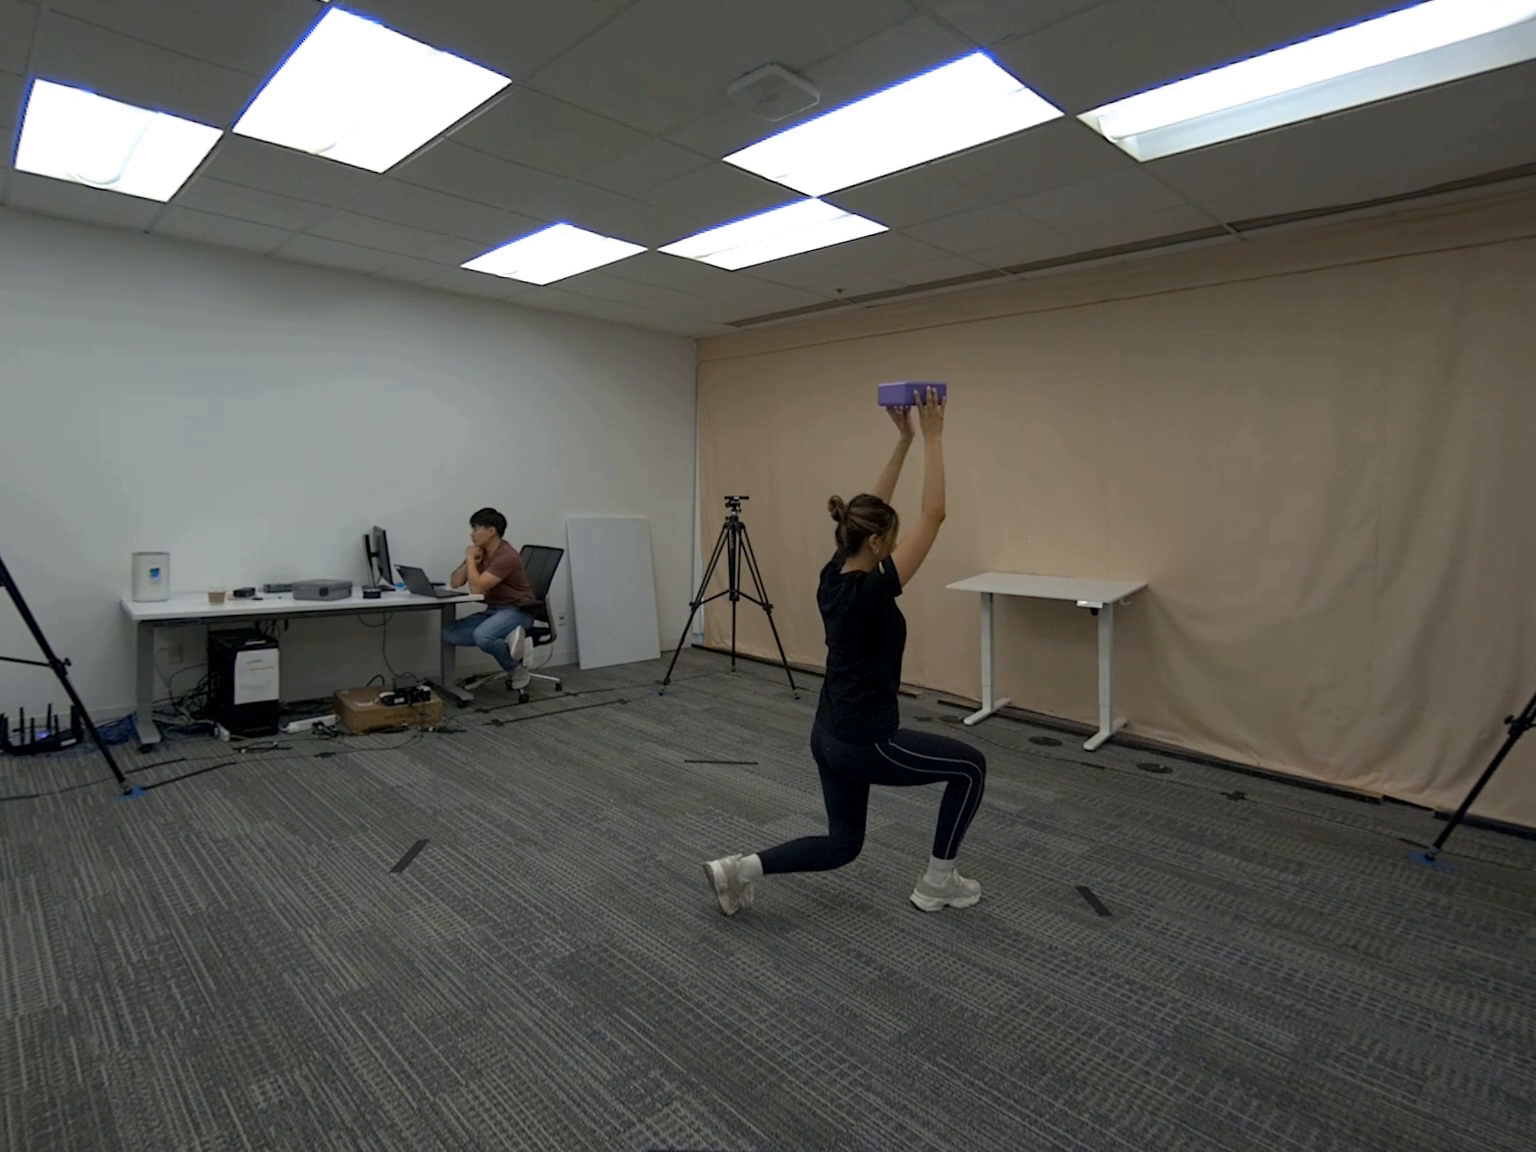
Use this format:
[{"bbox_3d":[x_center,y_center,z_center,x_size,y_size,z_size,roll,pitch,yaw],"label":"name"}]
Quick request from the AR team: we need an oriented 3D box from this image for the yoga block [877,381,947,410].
[{"bbox_3d":[0.475,-0.616,2.810,0.148,0.076,0.233,-5,9,-12],"label":"yoga block"}]
